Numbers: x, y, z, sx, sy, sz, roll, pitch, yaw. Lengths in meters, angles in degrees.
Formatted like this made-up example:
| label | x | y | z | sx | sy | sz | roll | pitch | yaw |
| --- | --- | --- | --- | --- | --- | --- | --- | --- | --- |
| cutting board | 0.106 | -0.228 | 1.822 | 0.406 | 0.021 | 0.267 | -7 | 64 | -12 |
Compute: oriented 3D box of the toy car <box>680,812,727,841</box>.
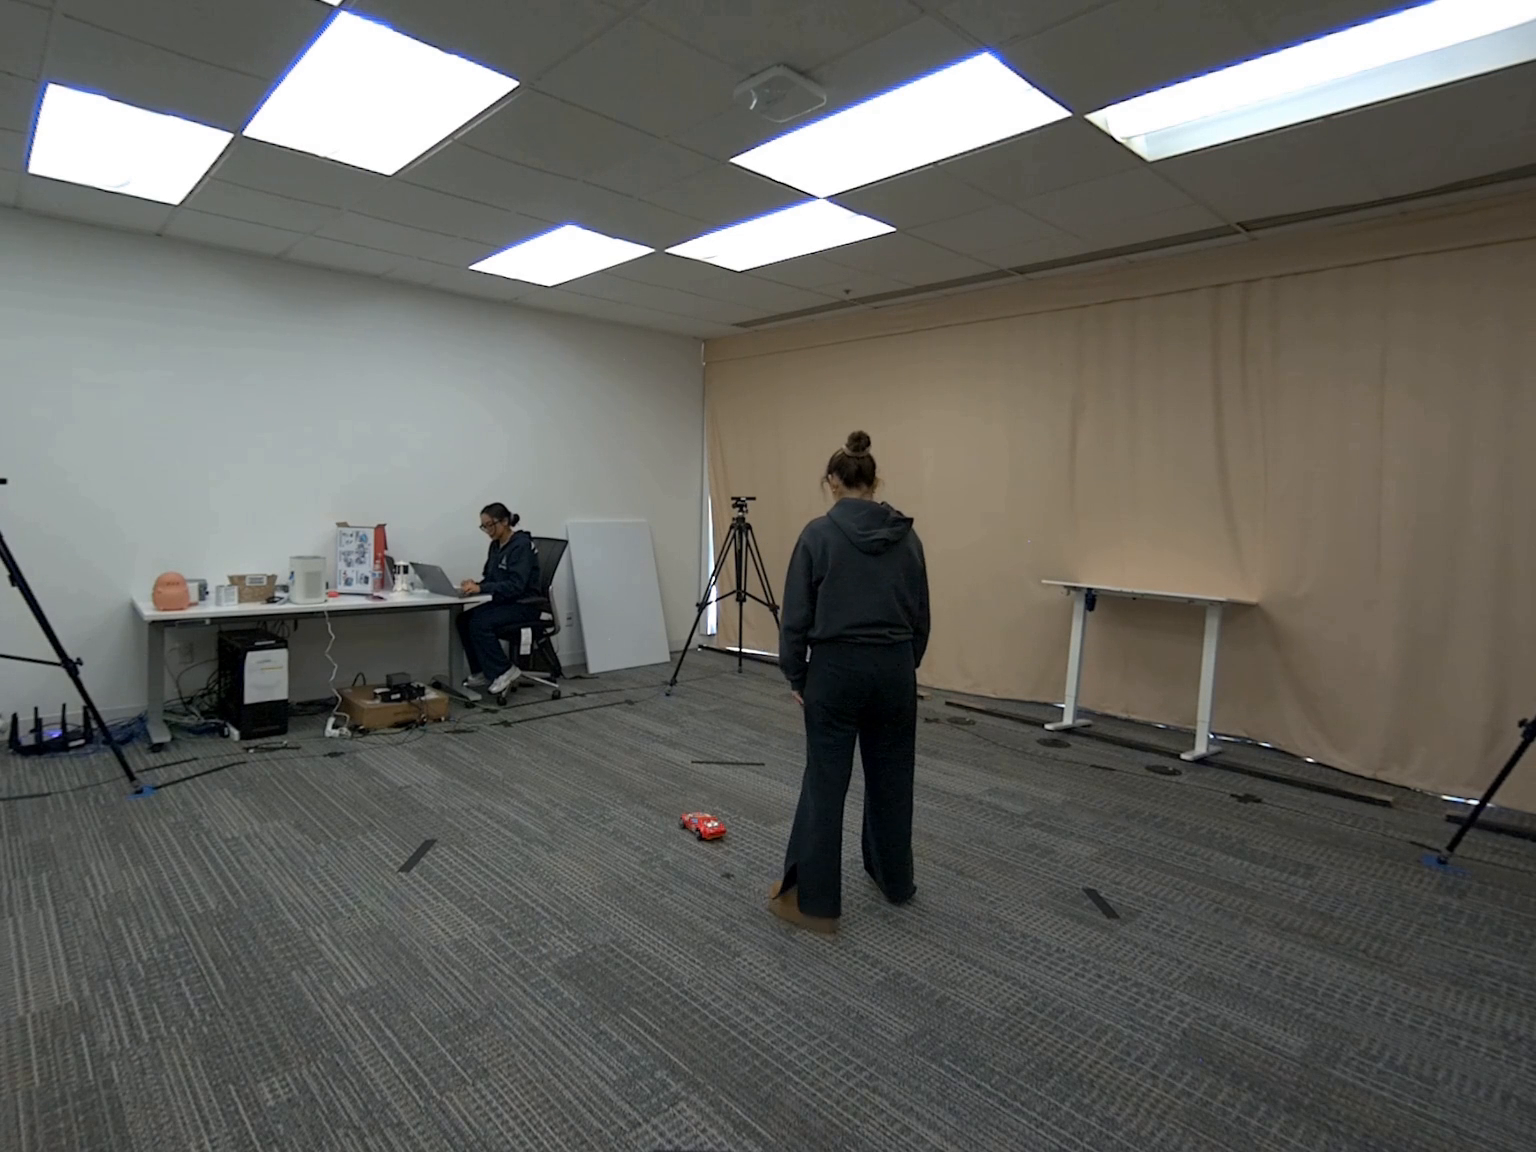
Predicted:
| label | x | y | z | sx | sy | sz | roll | pitch | yaw |
| --- | --- | --- | --- | --- | --- | --- | --- | --- | --- |
| toy car | -0.278 | 1.035 | 3.503 | 0.127 | 0.083 | 0.259 | -1 | -5 | -33 |
